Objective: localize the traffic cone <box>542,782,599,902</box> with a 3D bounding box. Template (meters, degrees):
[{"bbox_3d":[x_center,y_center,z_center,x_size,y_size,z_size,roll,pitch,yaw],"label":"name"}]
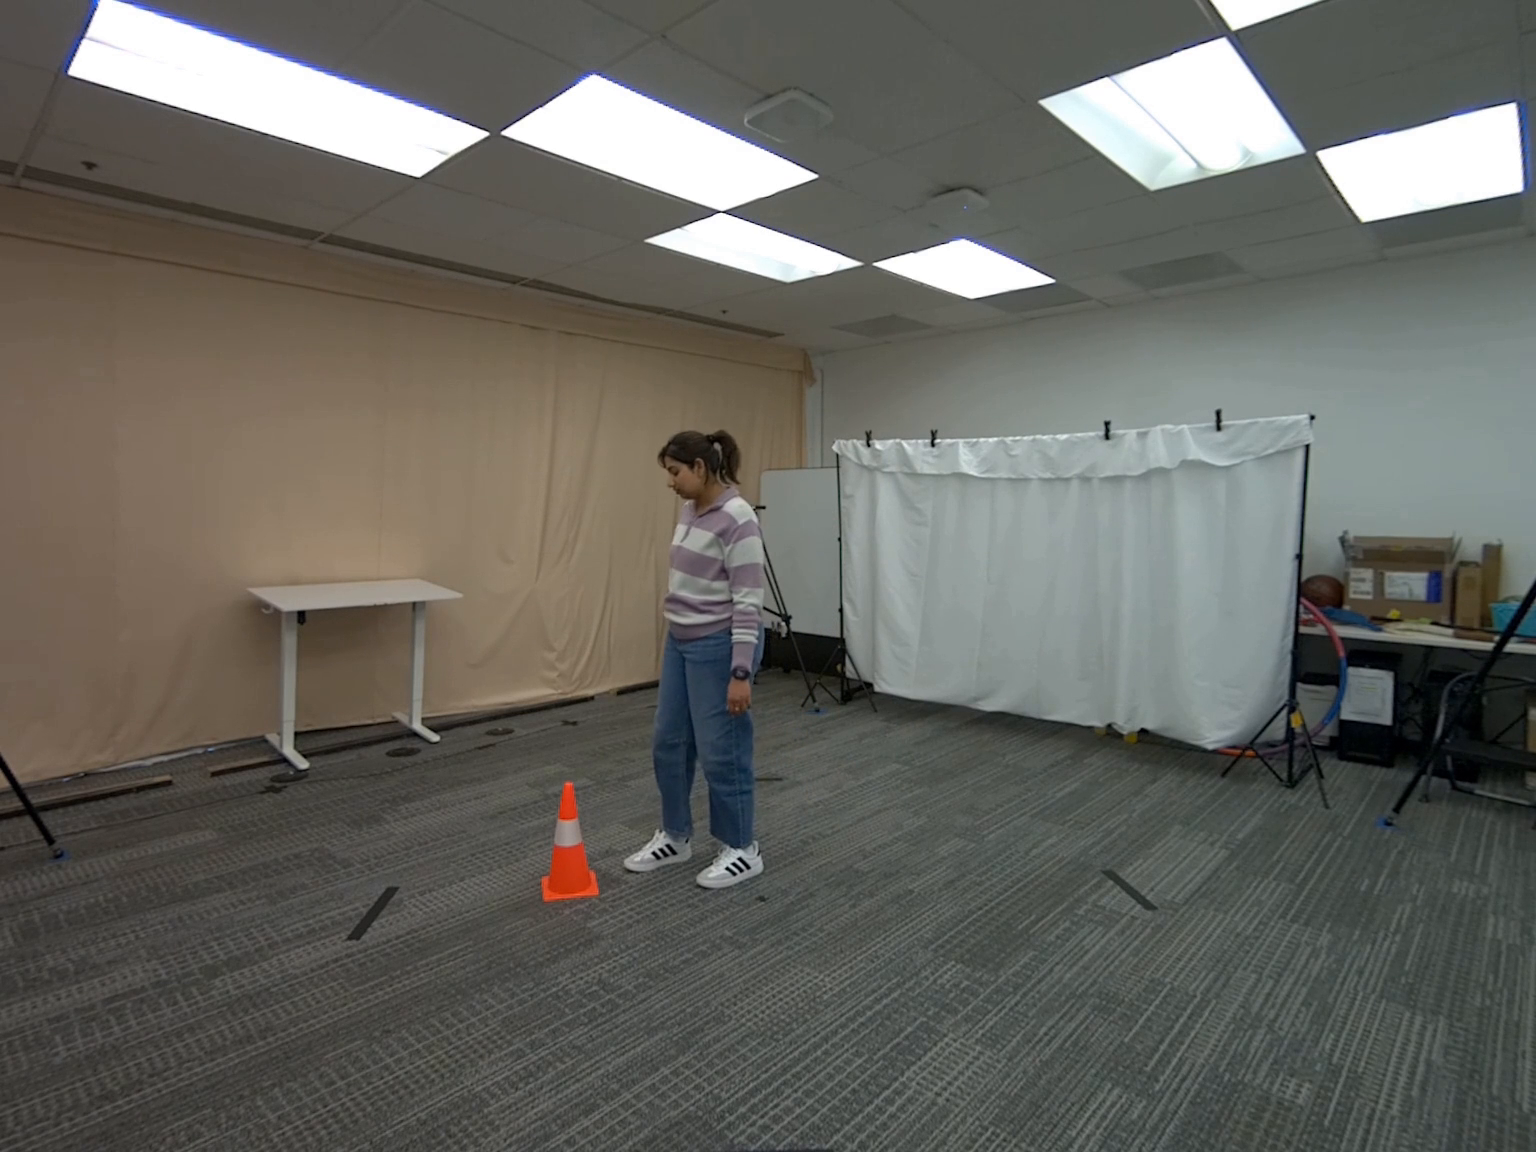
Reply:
[{"bbox_3d":[-0.730,0.957,3.095,0.200,0.383,0.208,-1,1,-15],"label":"traffic cone"}]
